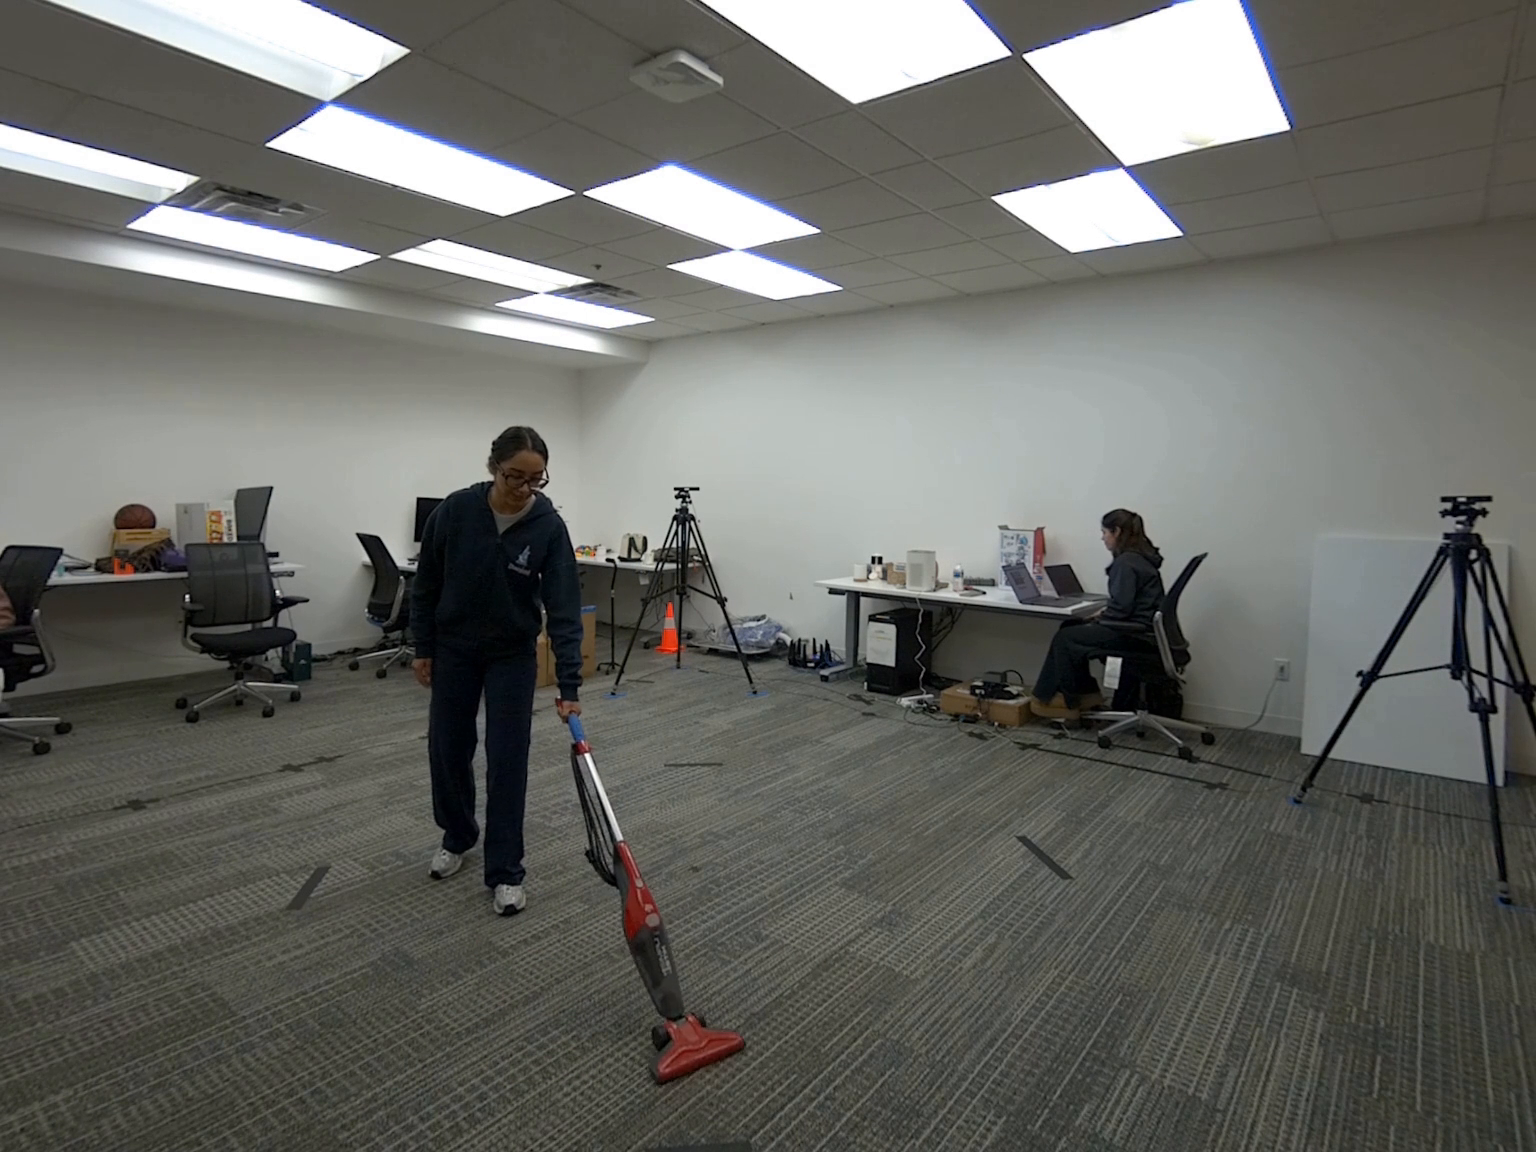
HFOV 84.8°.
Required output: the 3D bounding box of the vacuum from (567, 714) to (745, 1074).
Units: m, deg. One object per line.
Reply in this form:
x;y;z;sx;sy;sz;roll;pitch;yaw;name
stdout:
-0.442;0.782;2.419;0.244;0.143;1.092;7;39;-42;vacuum
